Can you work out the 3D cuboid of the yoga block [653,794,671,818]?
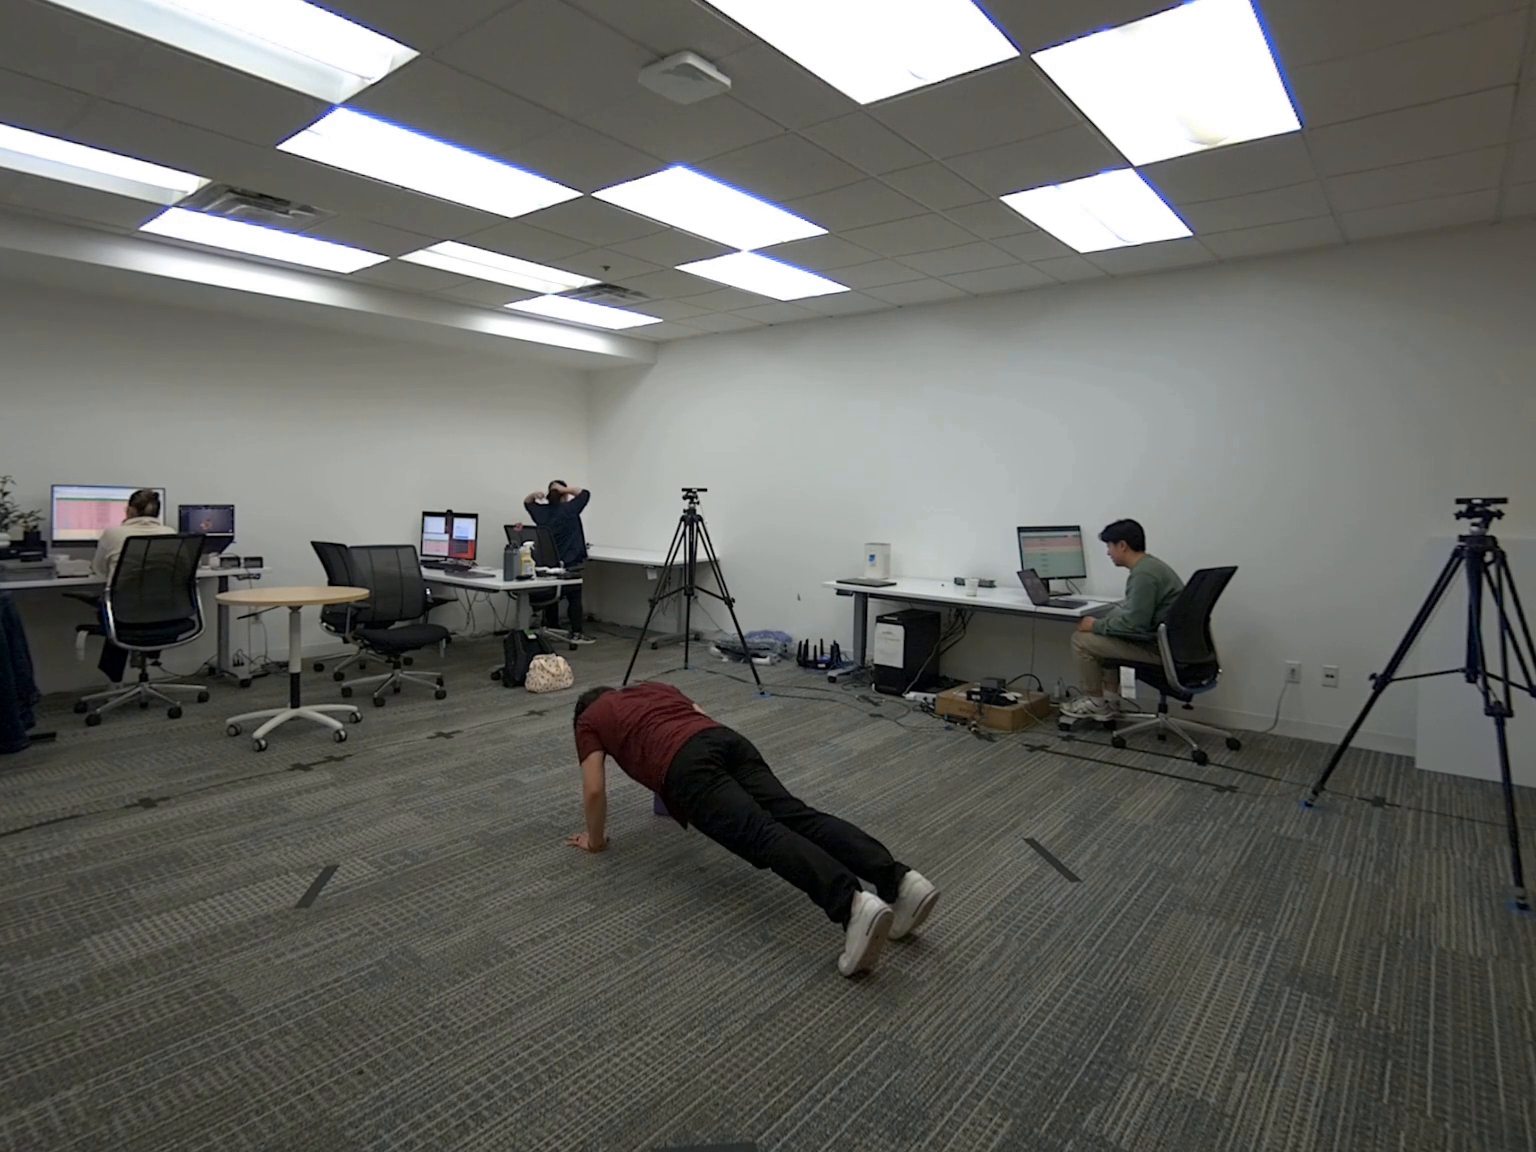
[{"bbox_3d":[-0.378,0.938,3.624,0.233,0.148,0.075,3,4,14],"label":"yoga block"}]
